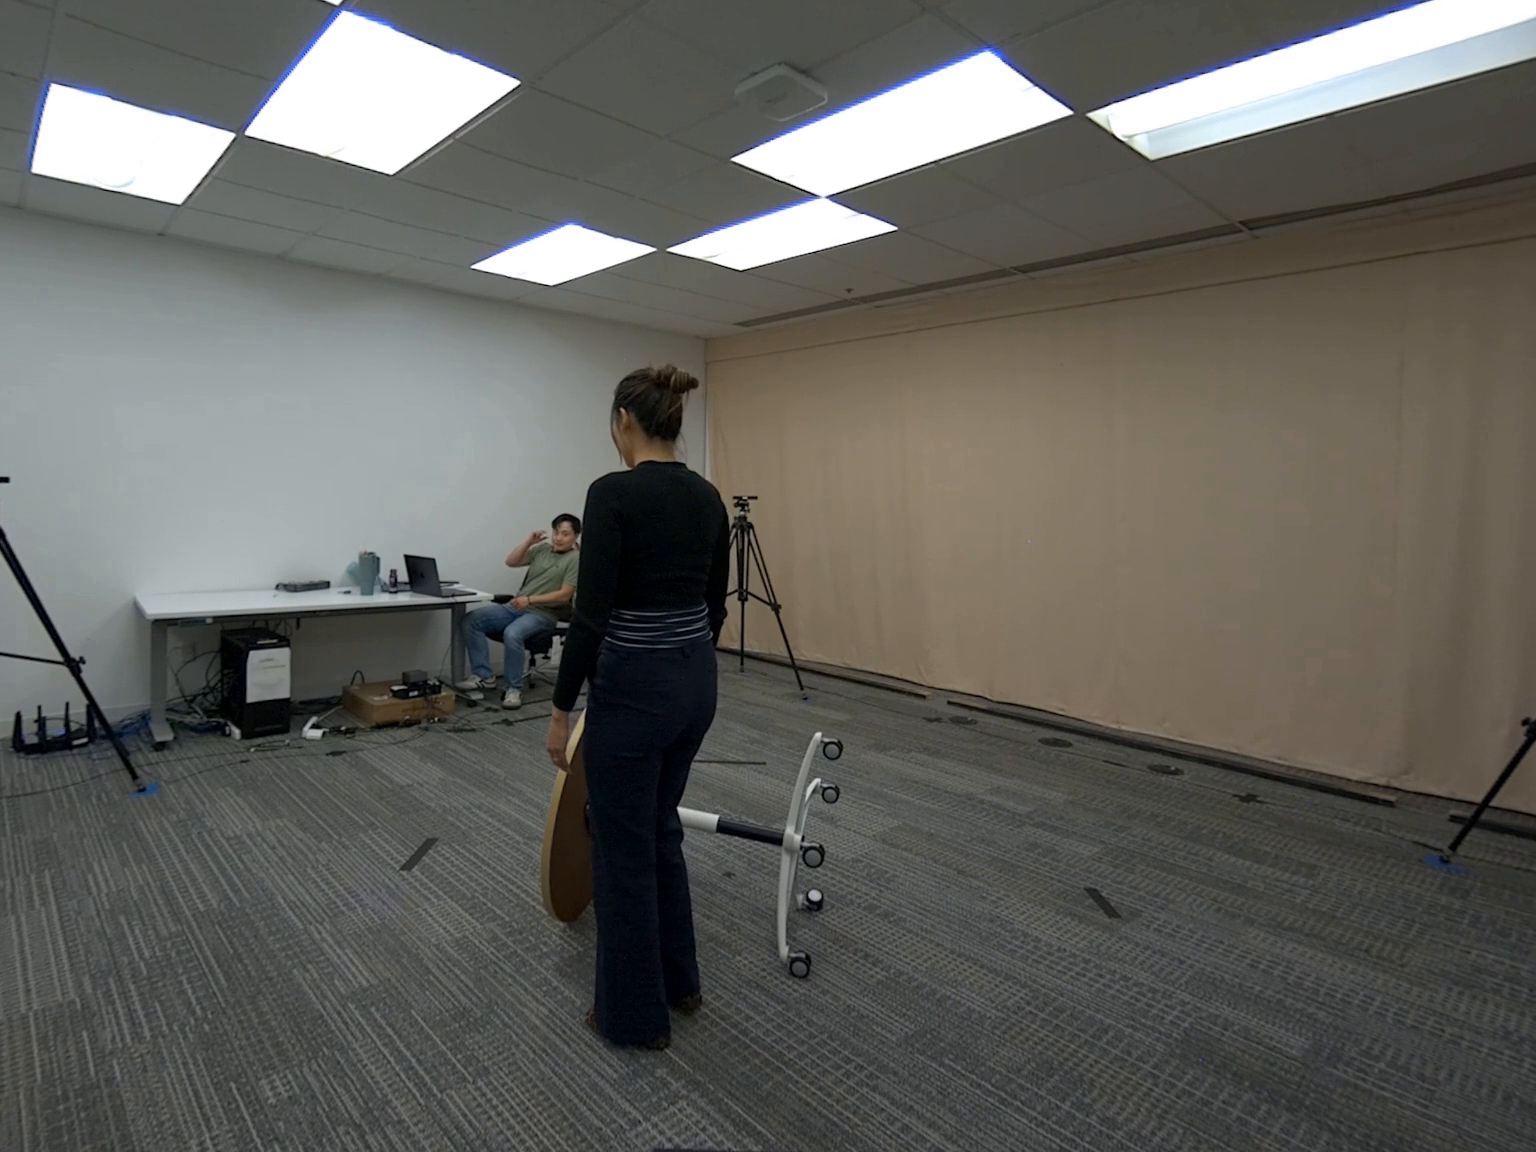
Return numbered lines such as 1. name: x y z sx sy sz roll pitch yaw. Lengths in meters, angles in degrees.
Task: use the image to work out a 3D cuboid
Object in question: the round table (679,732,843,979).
1. round table: -0.202 0.802 2.721 0.801 0.761 0.759 8 5 10
